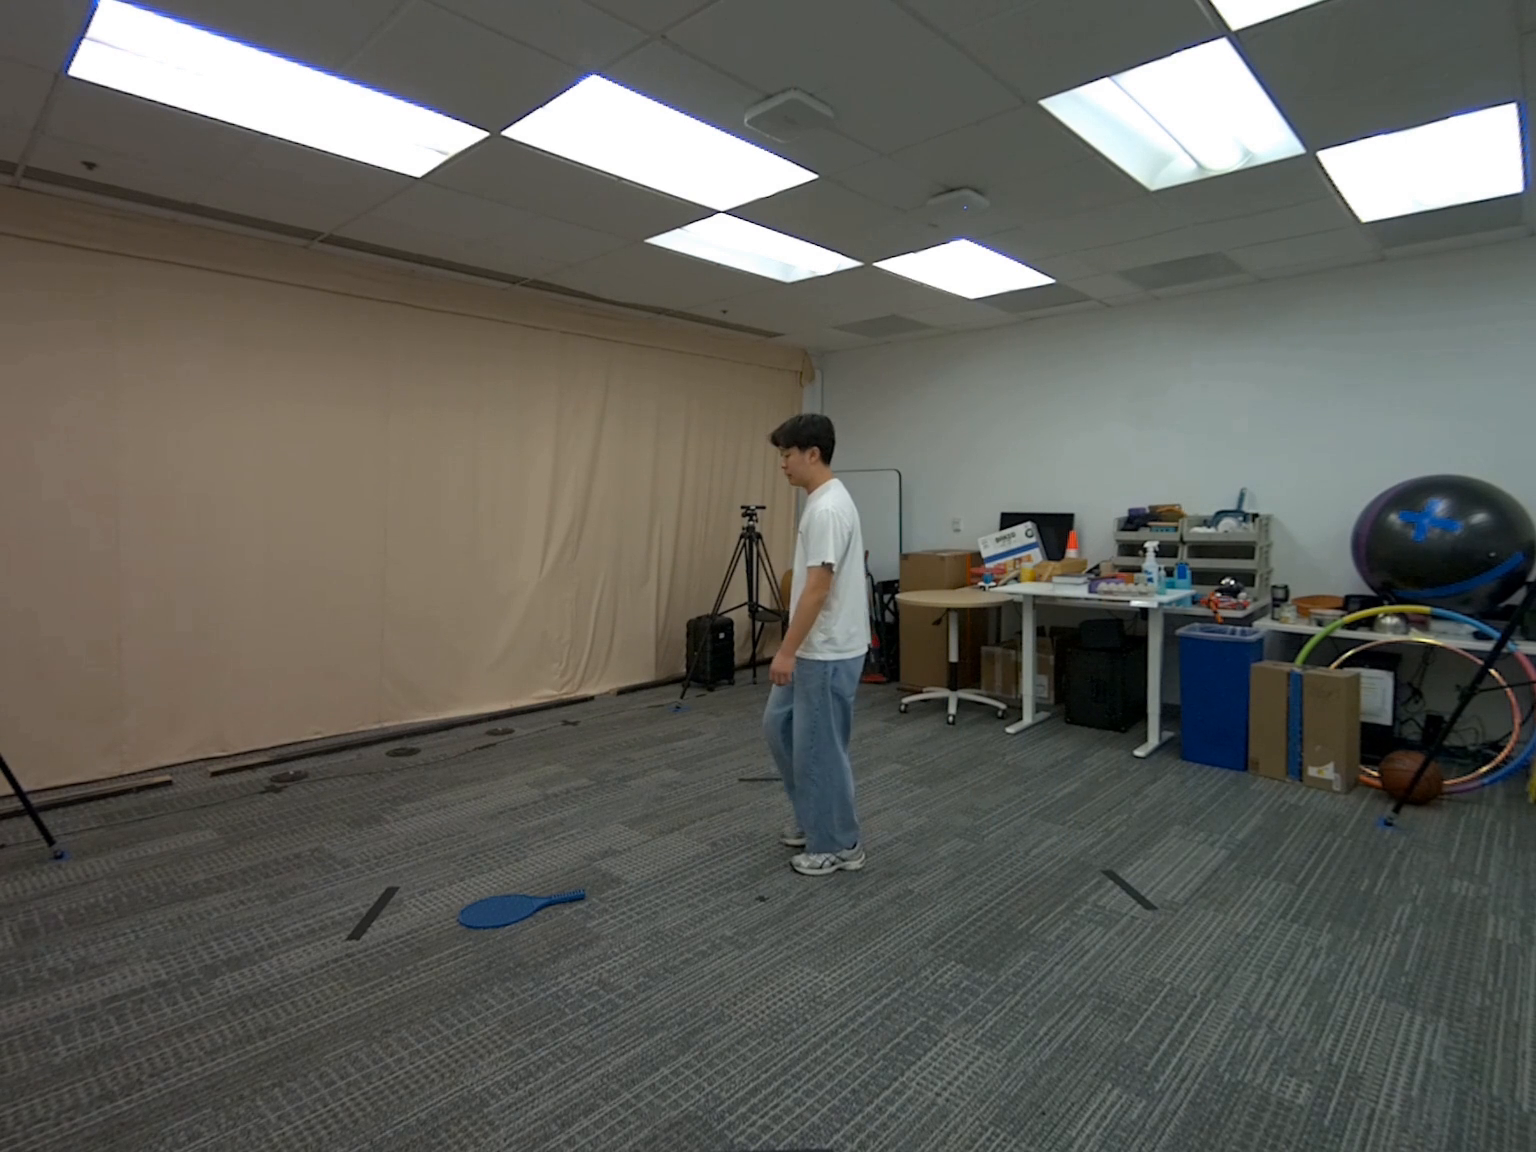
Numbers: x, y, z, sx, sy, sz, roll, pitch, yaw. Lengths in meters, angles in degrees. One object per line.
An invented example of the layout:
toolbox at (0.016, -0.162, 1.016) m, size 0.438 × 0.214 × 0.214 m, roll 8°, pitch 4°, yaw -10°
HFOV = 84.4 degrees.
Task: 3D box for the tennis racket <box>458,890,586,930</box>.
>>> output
tennis racket at (-0.853, 1.143, 2.914) m, size 0.425 × 0.031 × 0.218 m, roll -4°, pitch 5°, yaw -19°
